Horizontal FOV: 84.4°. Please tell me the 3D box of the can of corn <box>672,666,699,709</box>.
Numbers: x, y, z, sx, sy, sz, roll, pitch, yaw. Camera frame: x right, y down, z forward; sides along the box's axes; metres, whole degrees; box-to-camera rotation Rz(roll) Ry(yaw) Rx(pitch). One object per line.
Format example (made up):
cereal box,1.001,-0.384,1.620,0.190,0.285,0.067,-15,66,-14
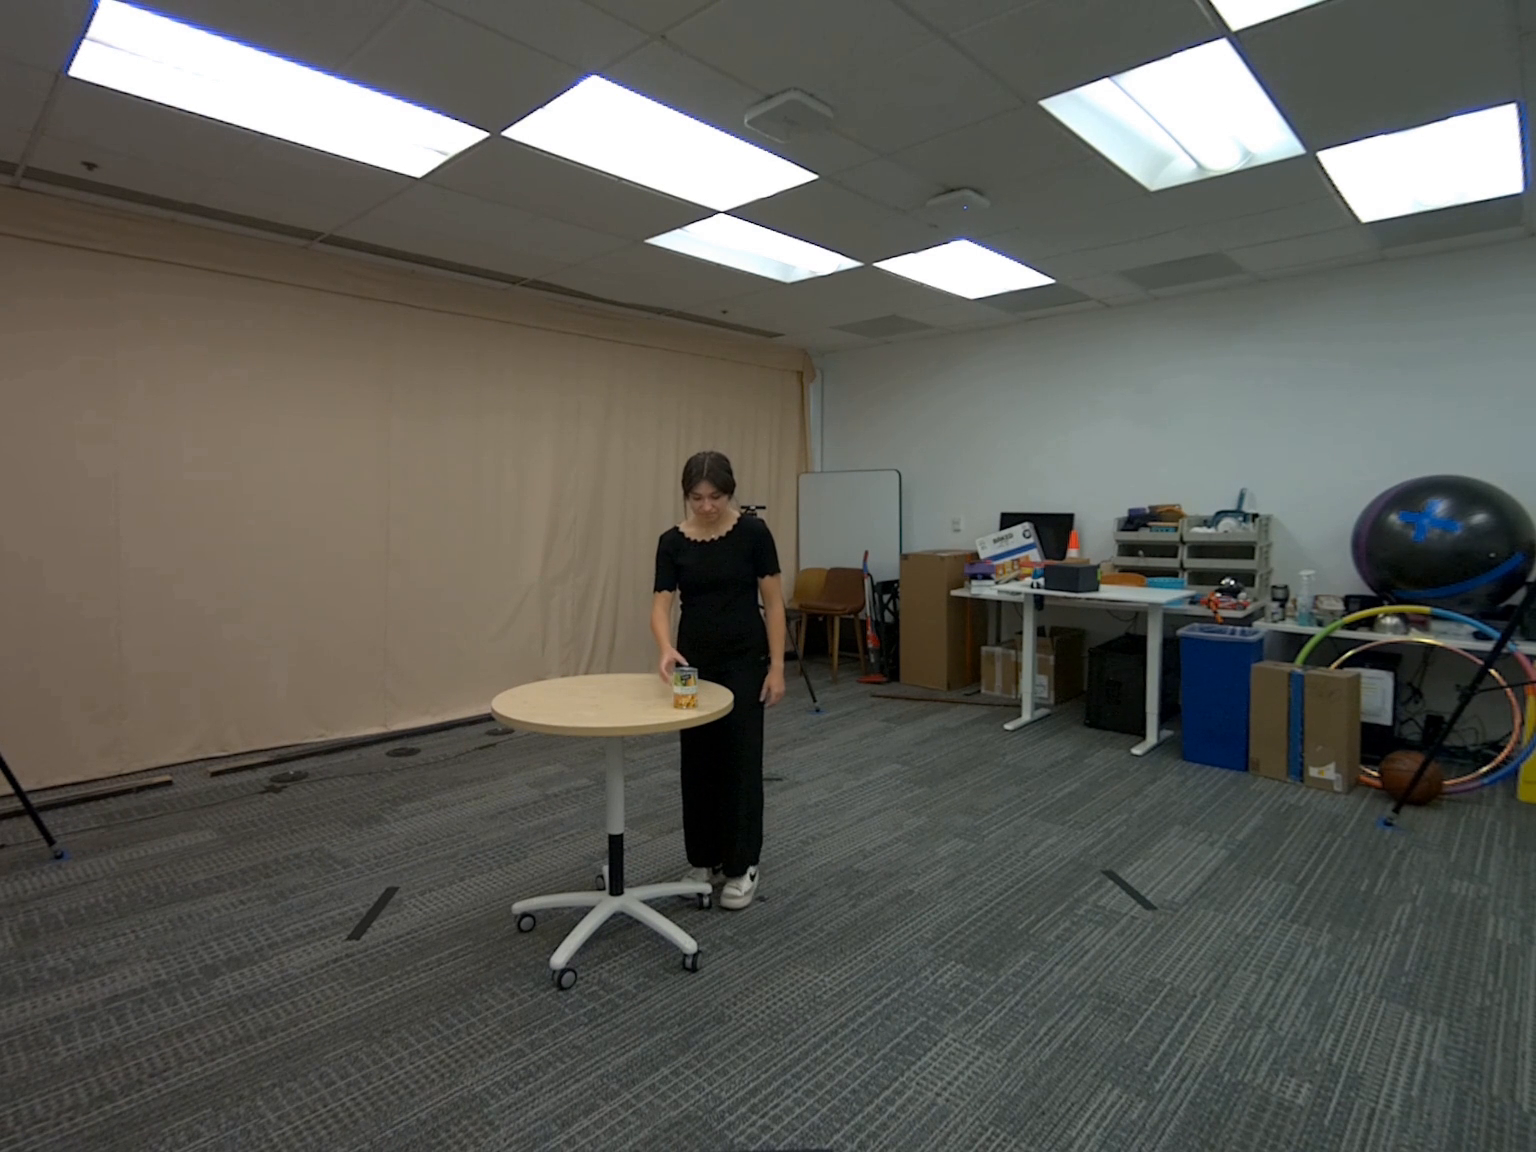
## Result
can of corn,-0.251,0.340,2.561,0.074,0.111,0.074,2,1,-2
